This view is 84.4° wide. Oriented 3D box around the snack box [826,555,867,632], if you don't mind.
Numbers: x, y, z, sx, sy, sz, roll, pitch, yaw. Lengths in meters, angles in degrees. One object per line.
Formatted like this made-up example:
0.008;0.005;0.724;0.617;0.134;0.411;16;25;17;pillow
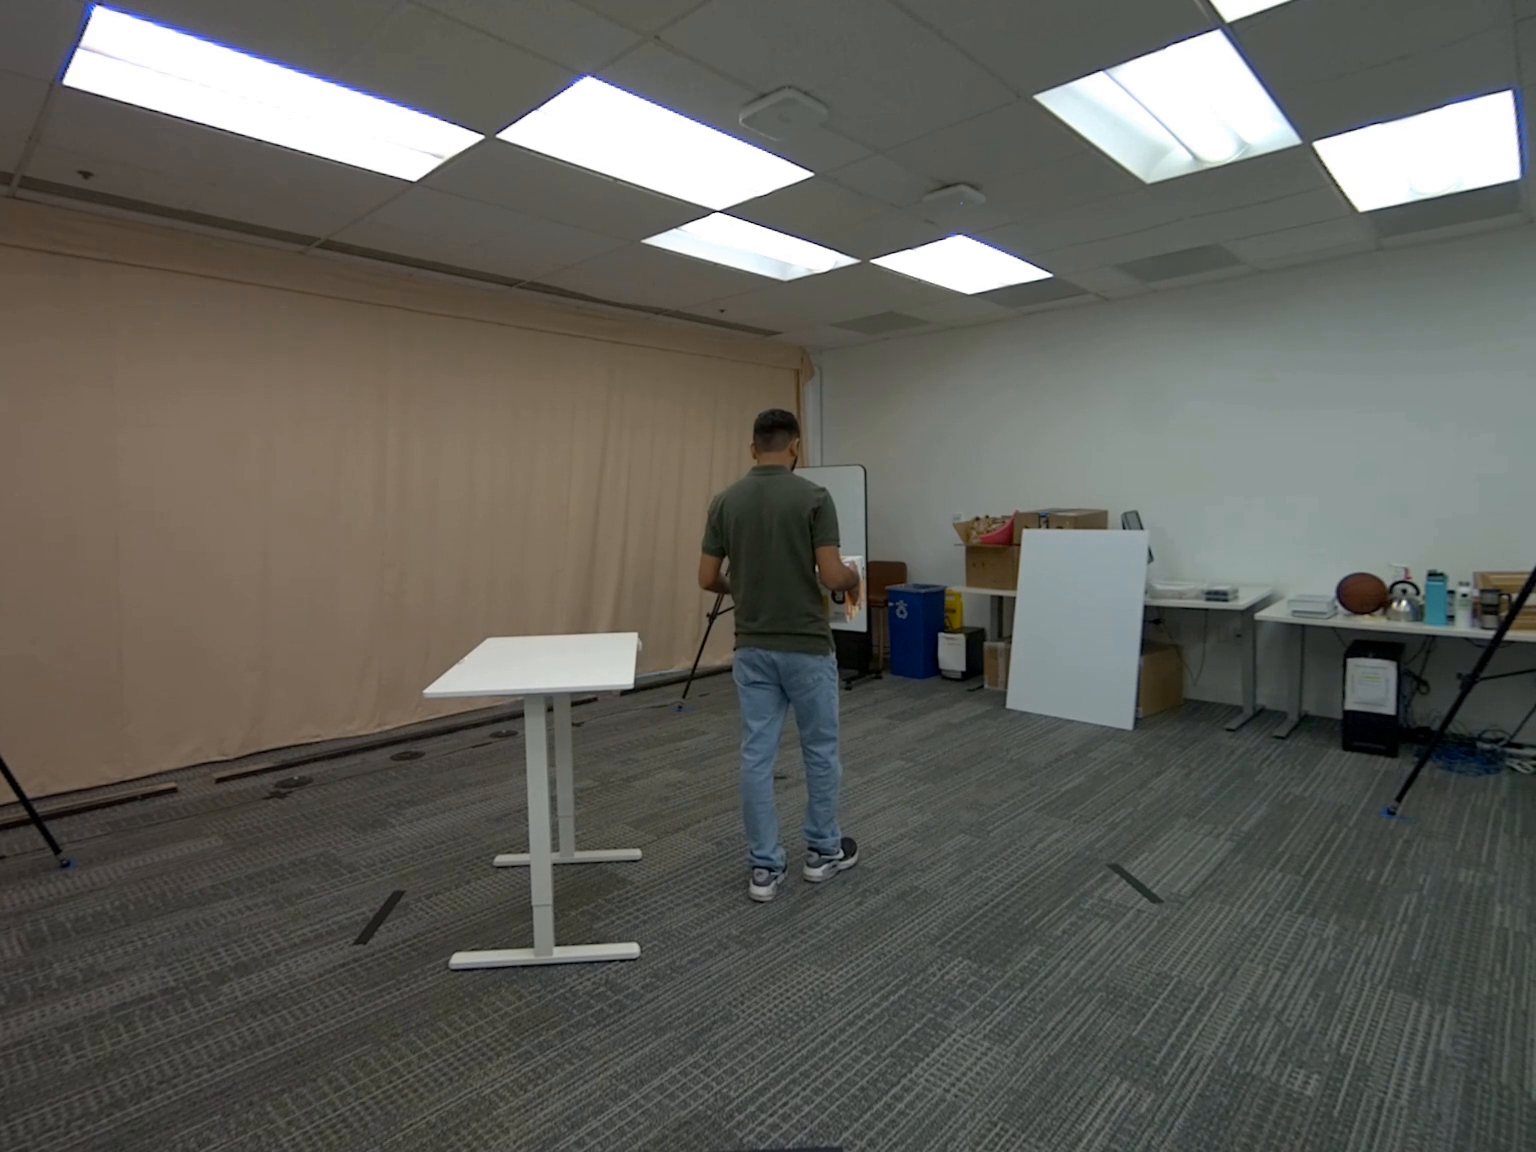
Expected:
0.152;0.050;3.333;0.414;0.204;0.335;-1;9;20;snack box
